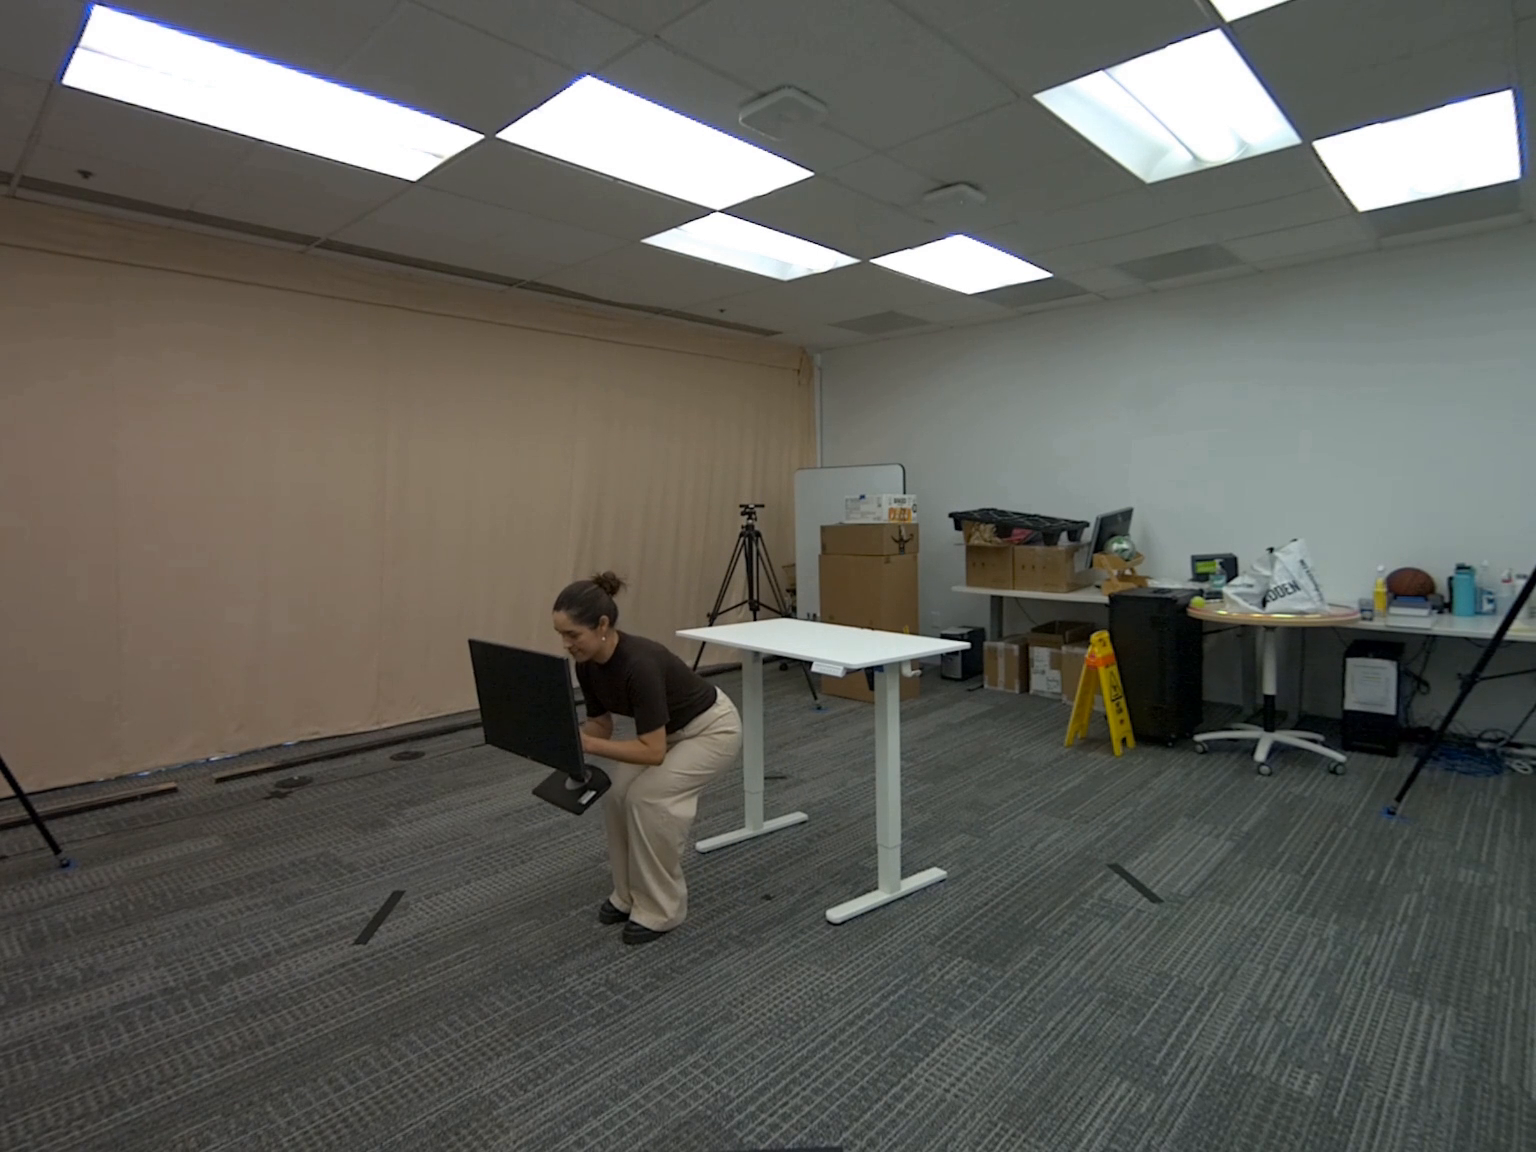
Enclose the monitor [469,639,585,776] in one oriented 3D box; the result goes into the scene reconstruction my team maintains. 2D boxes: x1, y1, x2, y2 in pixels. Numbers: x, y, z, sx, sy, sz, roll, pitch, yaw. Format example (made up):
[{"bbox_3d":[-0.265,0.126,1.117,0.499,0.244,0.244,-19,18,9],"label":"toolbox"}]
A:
[{"bbox_3d":[-0.684,0.452,2.581,0.557,0.514,0.184,1,26,42],"label":"monitor"}]
